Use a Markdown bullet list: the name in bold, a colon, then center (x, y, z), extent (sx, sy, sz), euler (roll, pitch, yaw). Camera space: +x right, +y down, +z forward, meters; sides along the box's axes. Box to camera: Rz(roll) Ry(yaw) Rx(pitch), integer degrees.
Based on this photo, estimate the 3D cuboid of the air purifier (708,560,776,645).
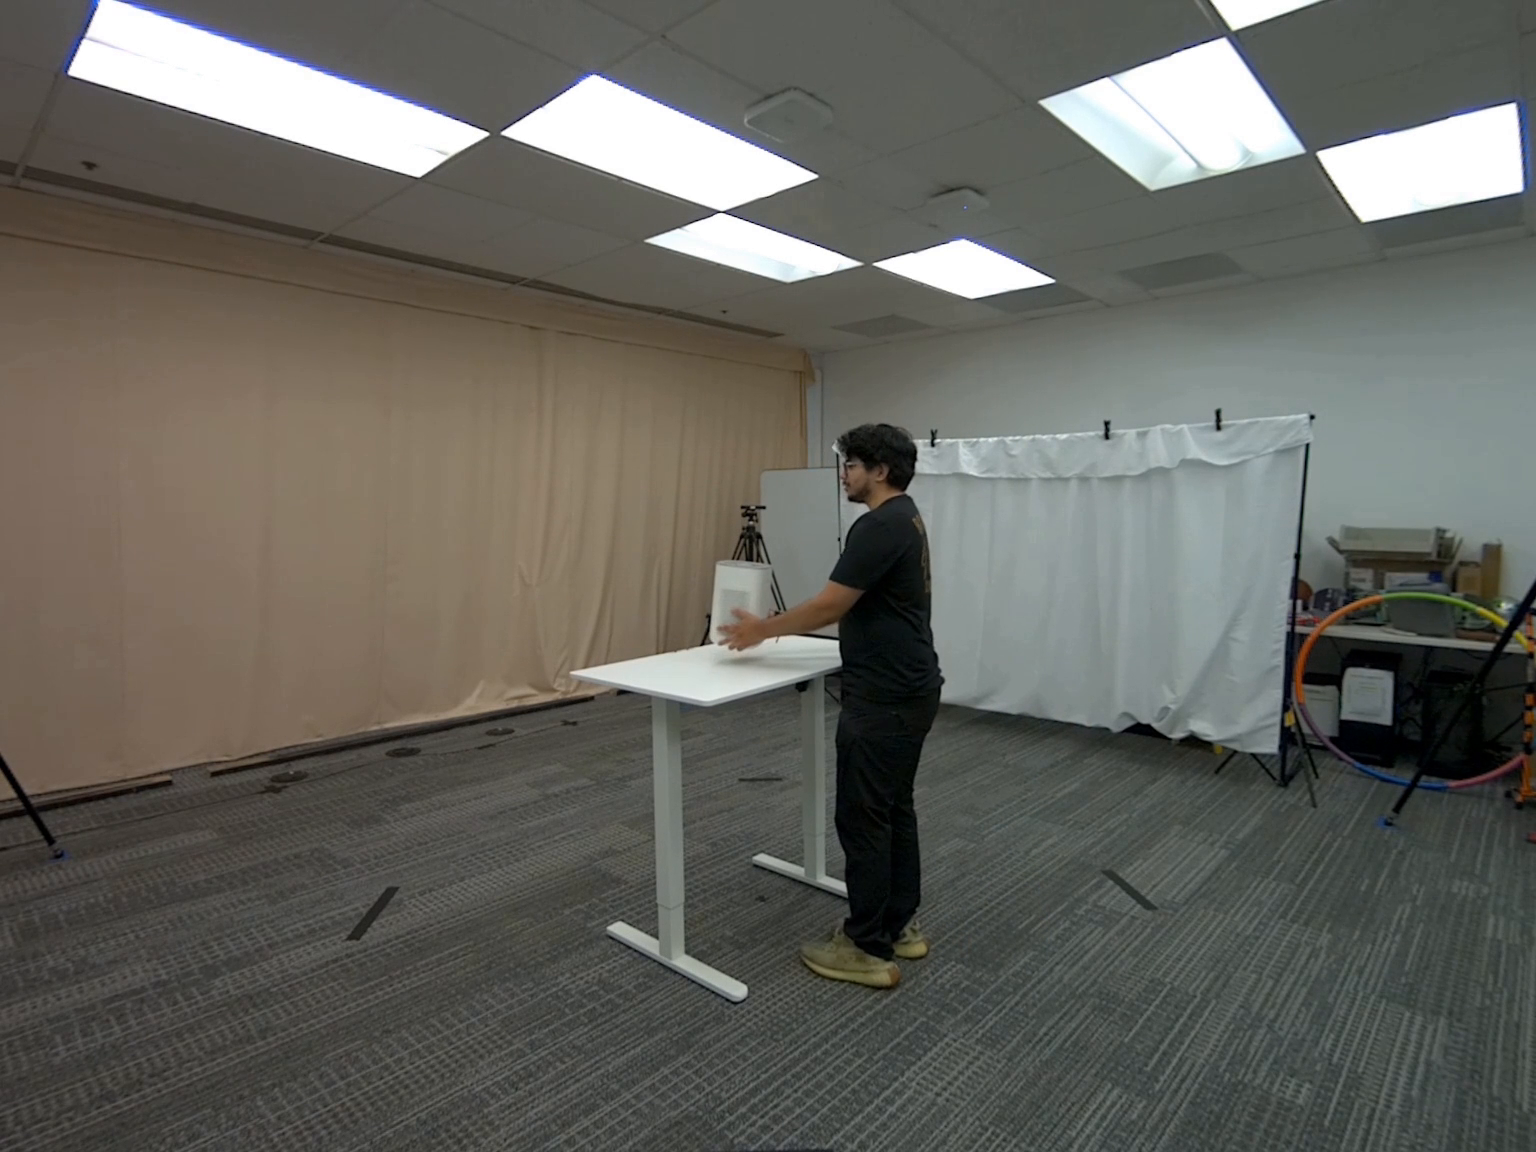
- **air purifier**: center (-0.078, 0.095, 2.745), extent (0.174, 0.264, 0.169), euler (6, 5, 12)
